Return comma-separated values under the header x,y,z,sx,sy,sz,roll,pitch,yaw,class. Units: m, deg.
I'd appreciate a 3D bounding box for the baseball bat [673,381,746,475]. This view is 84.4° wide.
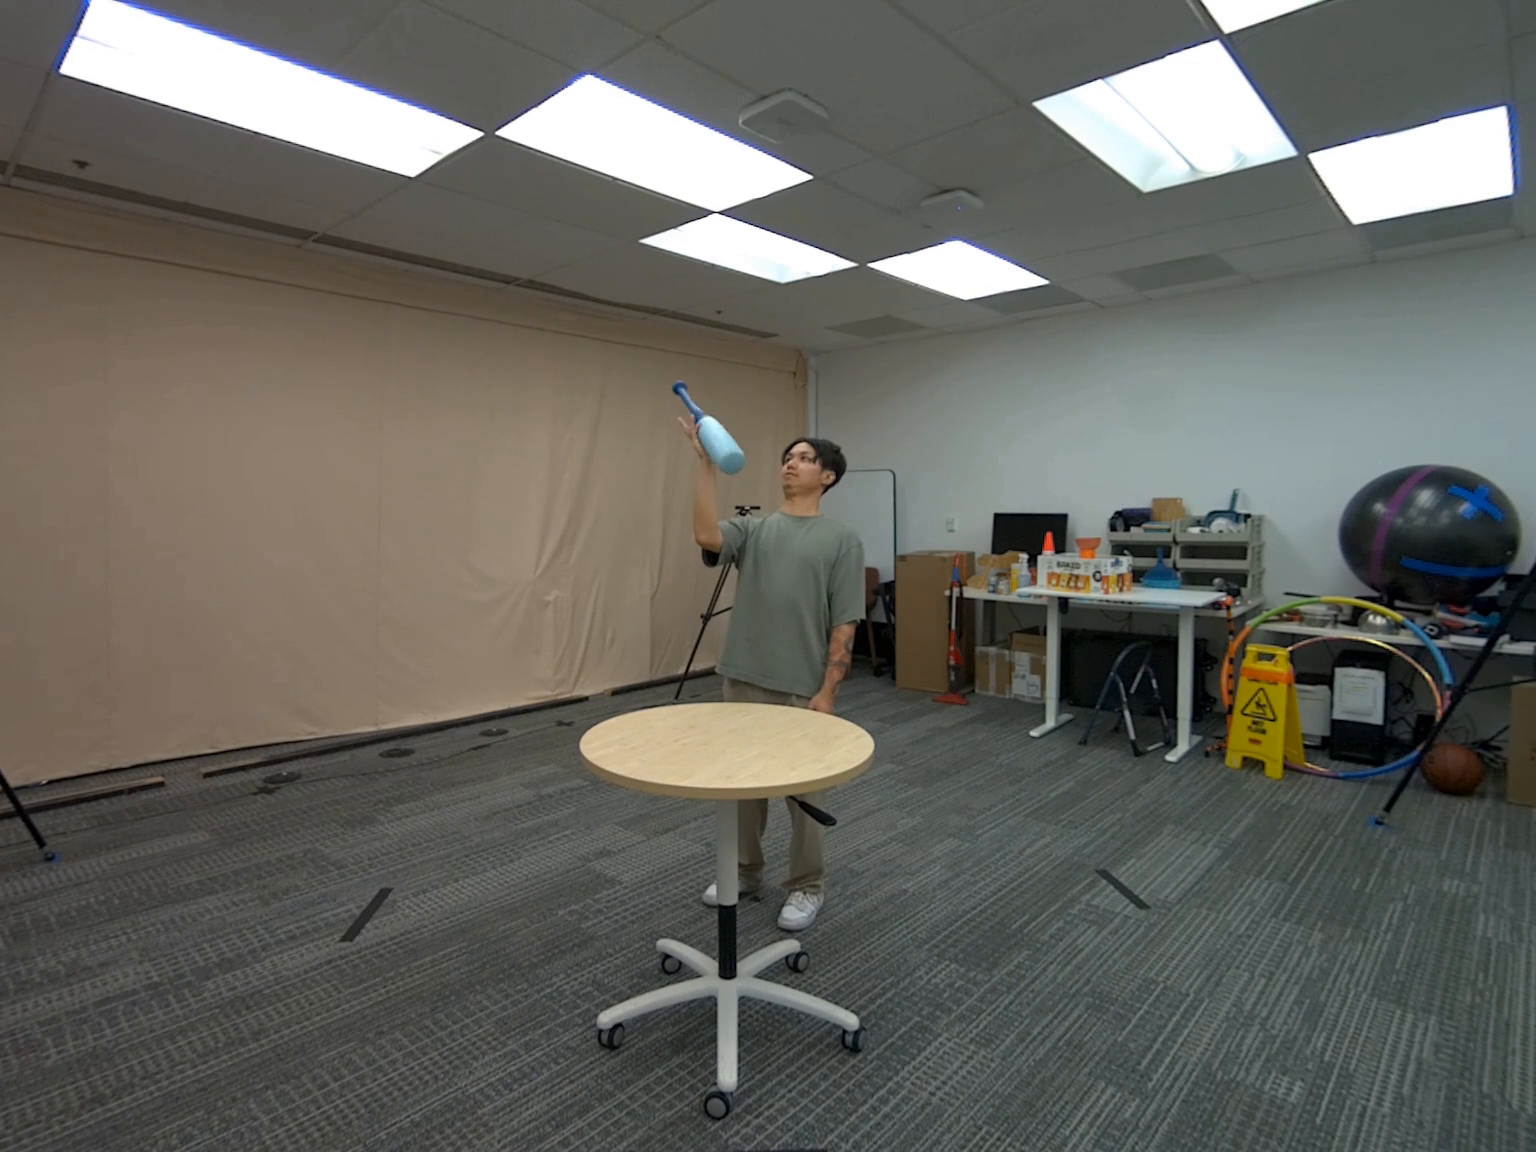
x,y,z,sx,sy,sz,roll,pitch,yaw,class
-0.206,-0.498,2.706,0.087,0.088,0.561,-2,36,-24,baseball bat
